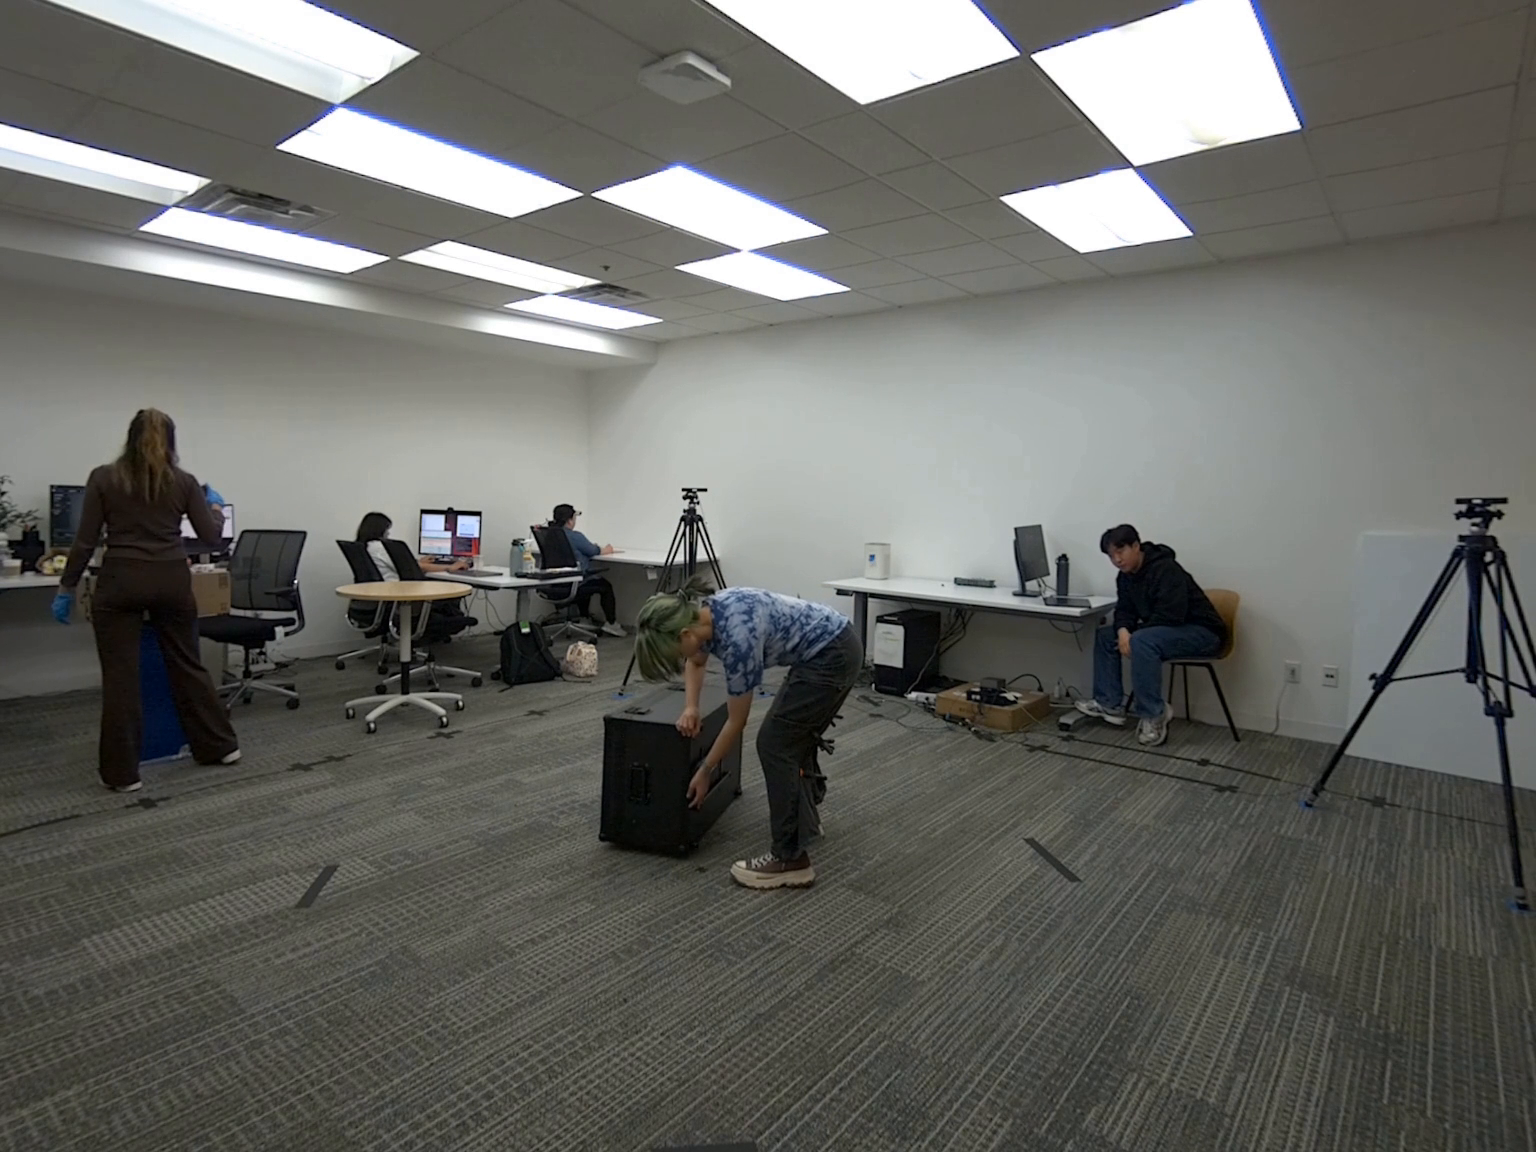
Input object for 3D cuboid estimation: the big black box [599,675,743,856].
[{"bbox_3d":[-0.364,0.756,3.605,0.403,0.520,0.850,3,4,14],"label":"big black box"}]
